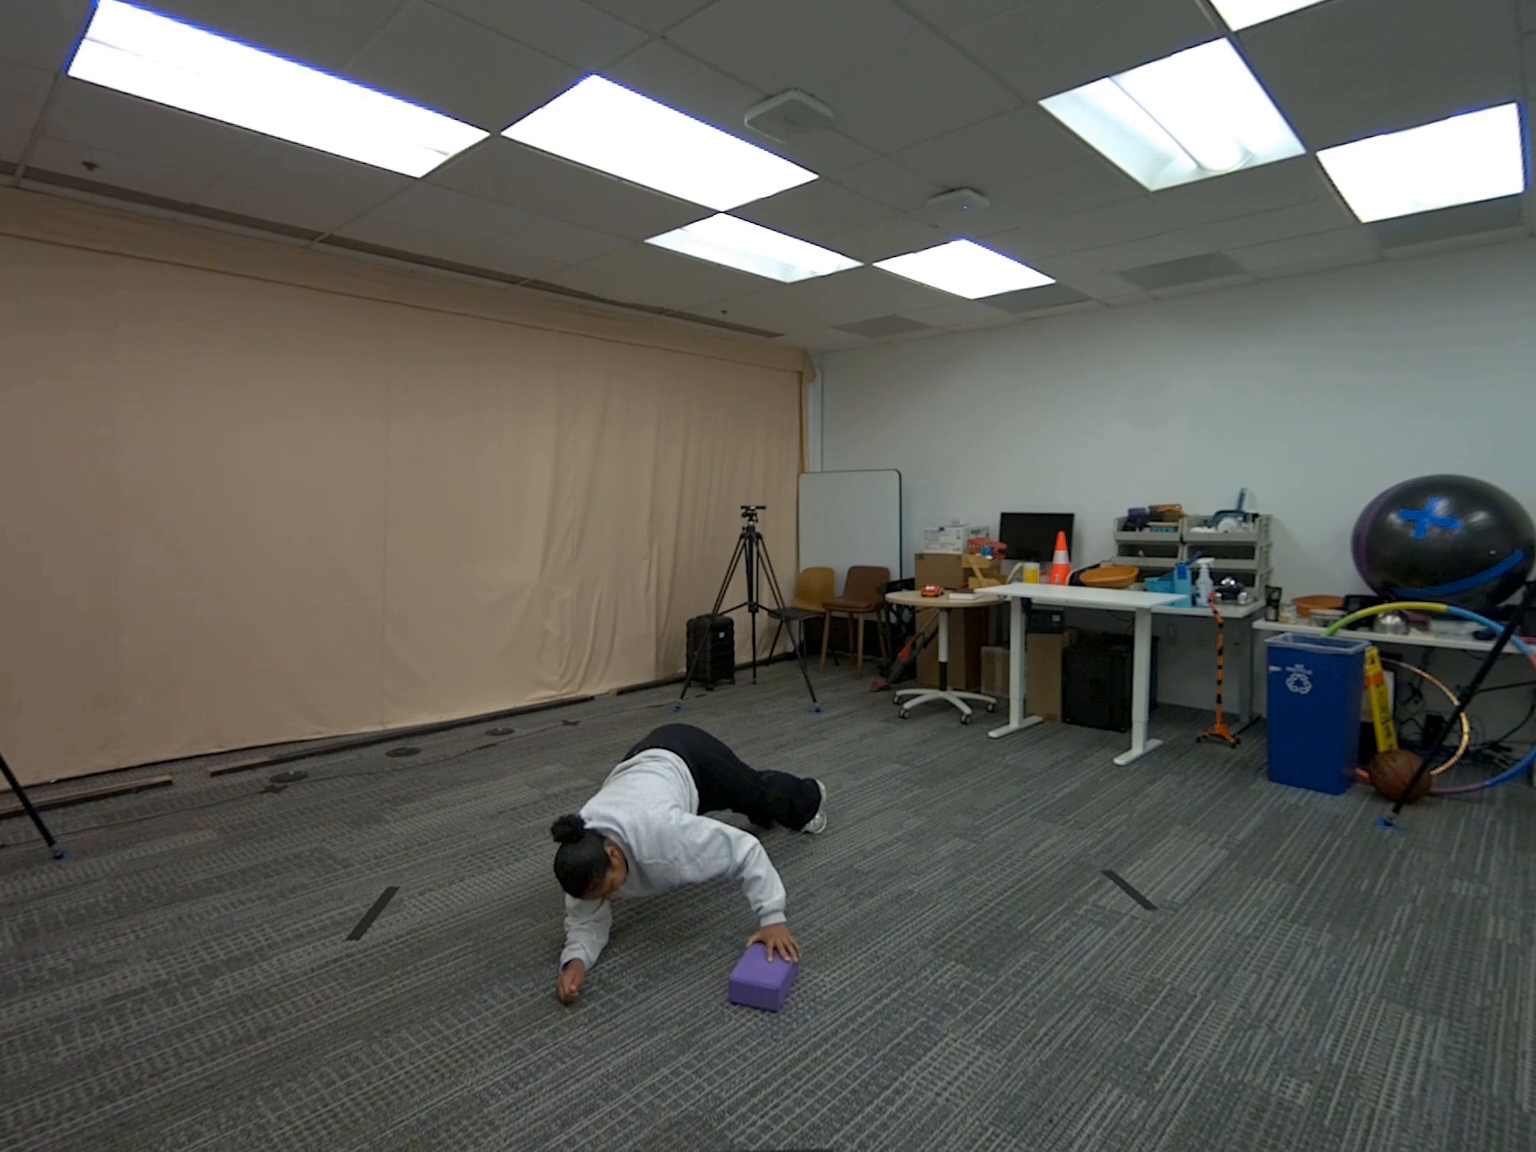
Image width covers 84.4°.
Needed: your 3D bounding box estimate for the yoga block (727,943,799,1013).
[{"bbox_3d":[-0.014,1.146,2.432,0.152,0.076,0.225,4,5,20],"label":"yoga block"}]
